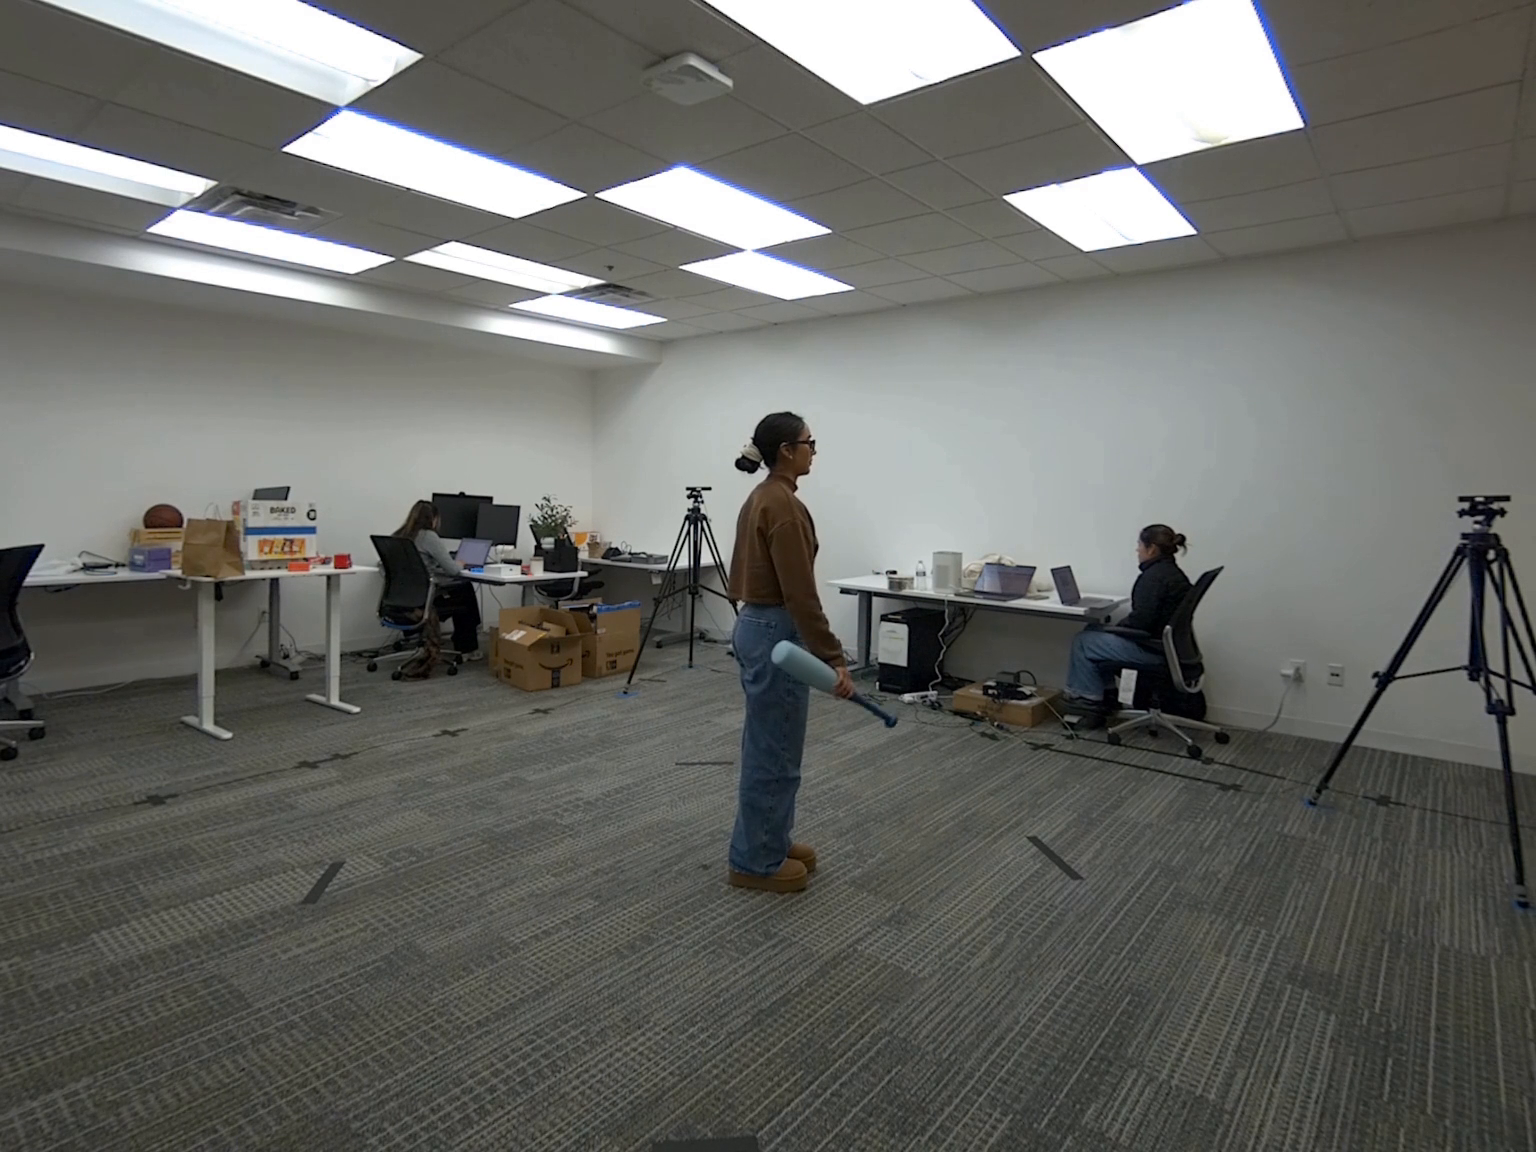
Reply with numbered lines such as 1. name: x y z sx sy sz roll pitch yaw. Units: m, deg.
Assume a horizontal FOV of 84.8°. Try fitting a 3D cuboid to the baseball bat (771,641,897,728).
1. baseball bat: 0.223 0.348 2.747 0.525 0.089 0.092 33 -13 -27
